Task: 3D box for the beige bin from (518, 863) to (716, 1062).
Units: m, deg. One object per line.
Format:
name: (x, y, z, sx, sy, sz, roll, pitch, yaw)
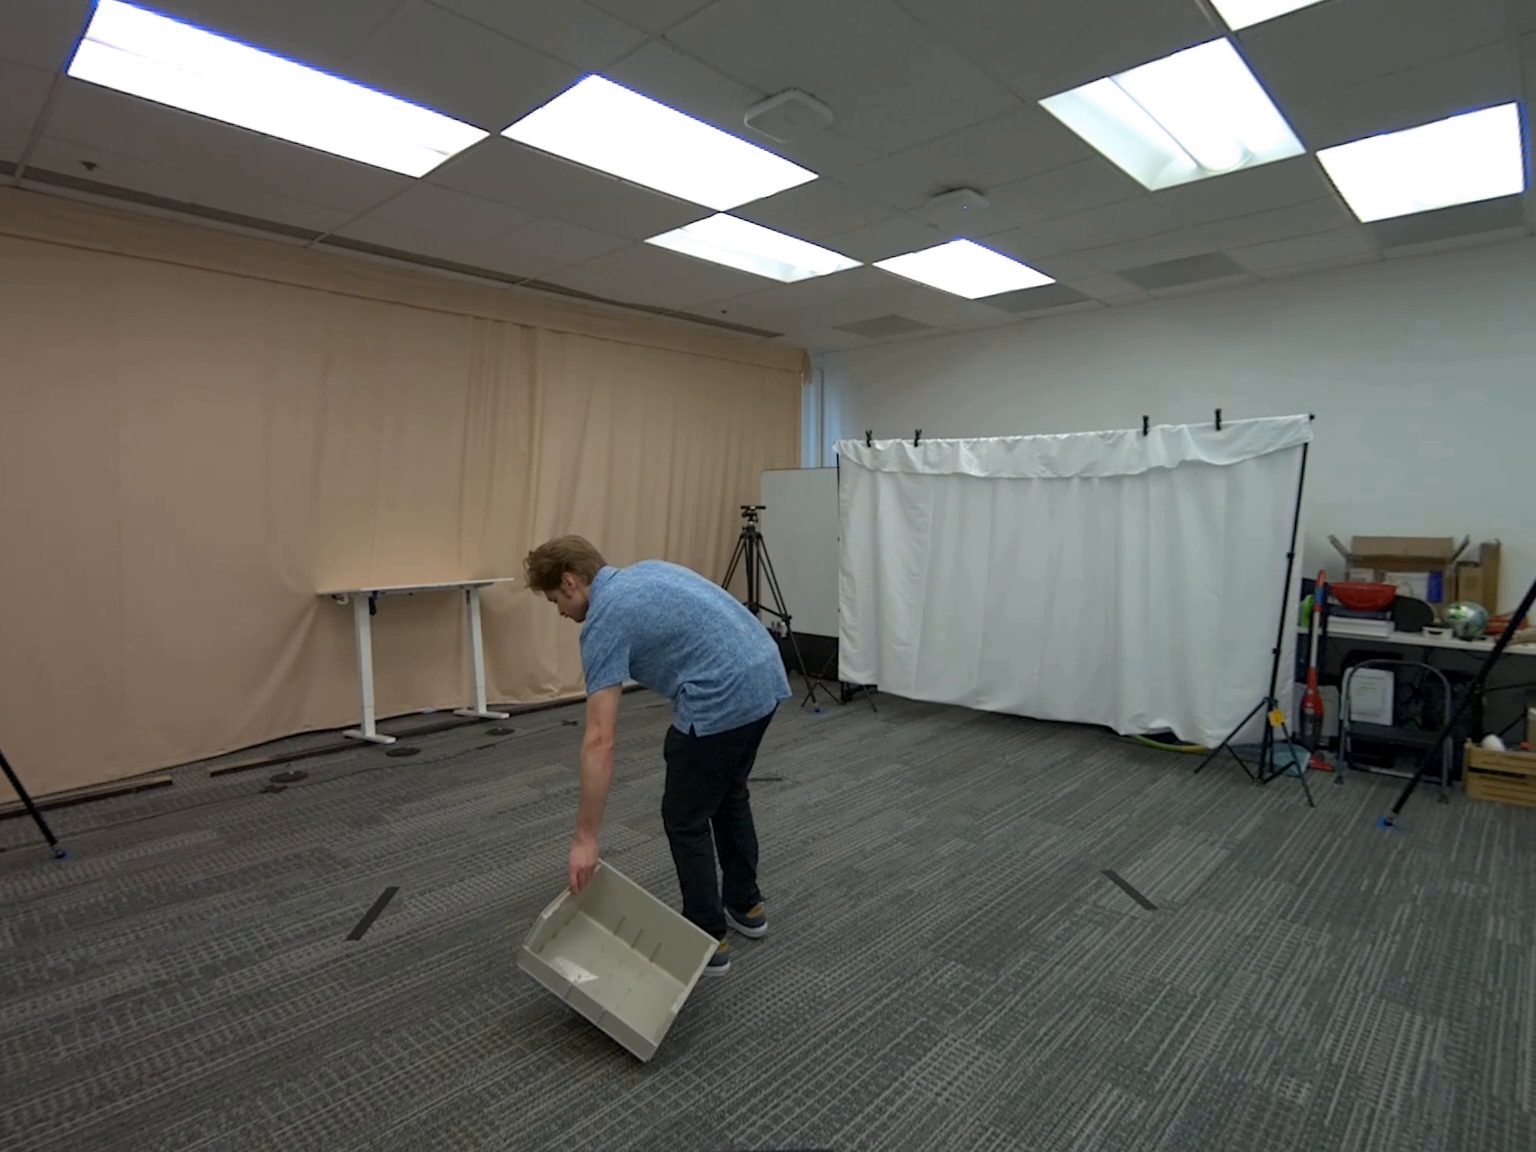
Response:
beige bin: (-0.399, 1.025, 2.266, 0.429, 0.189, 0.372, 25, 9, 12)
